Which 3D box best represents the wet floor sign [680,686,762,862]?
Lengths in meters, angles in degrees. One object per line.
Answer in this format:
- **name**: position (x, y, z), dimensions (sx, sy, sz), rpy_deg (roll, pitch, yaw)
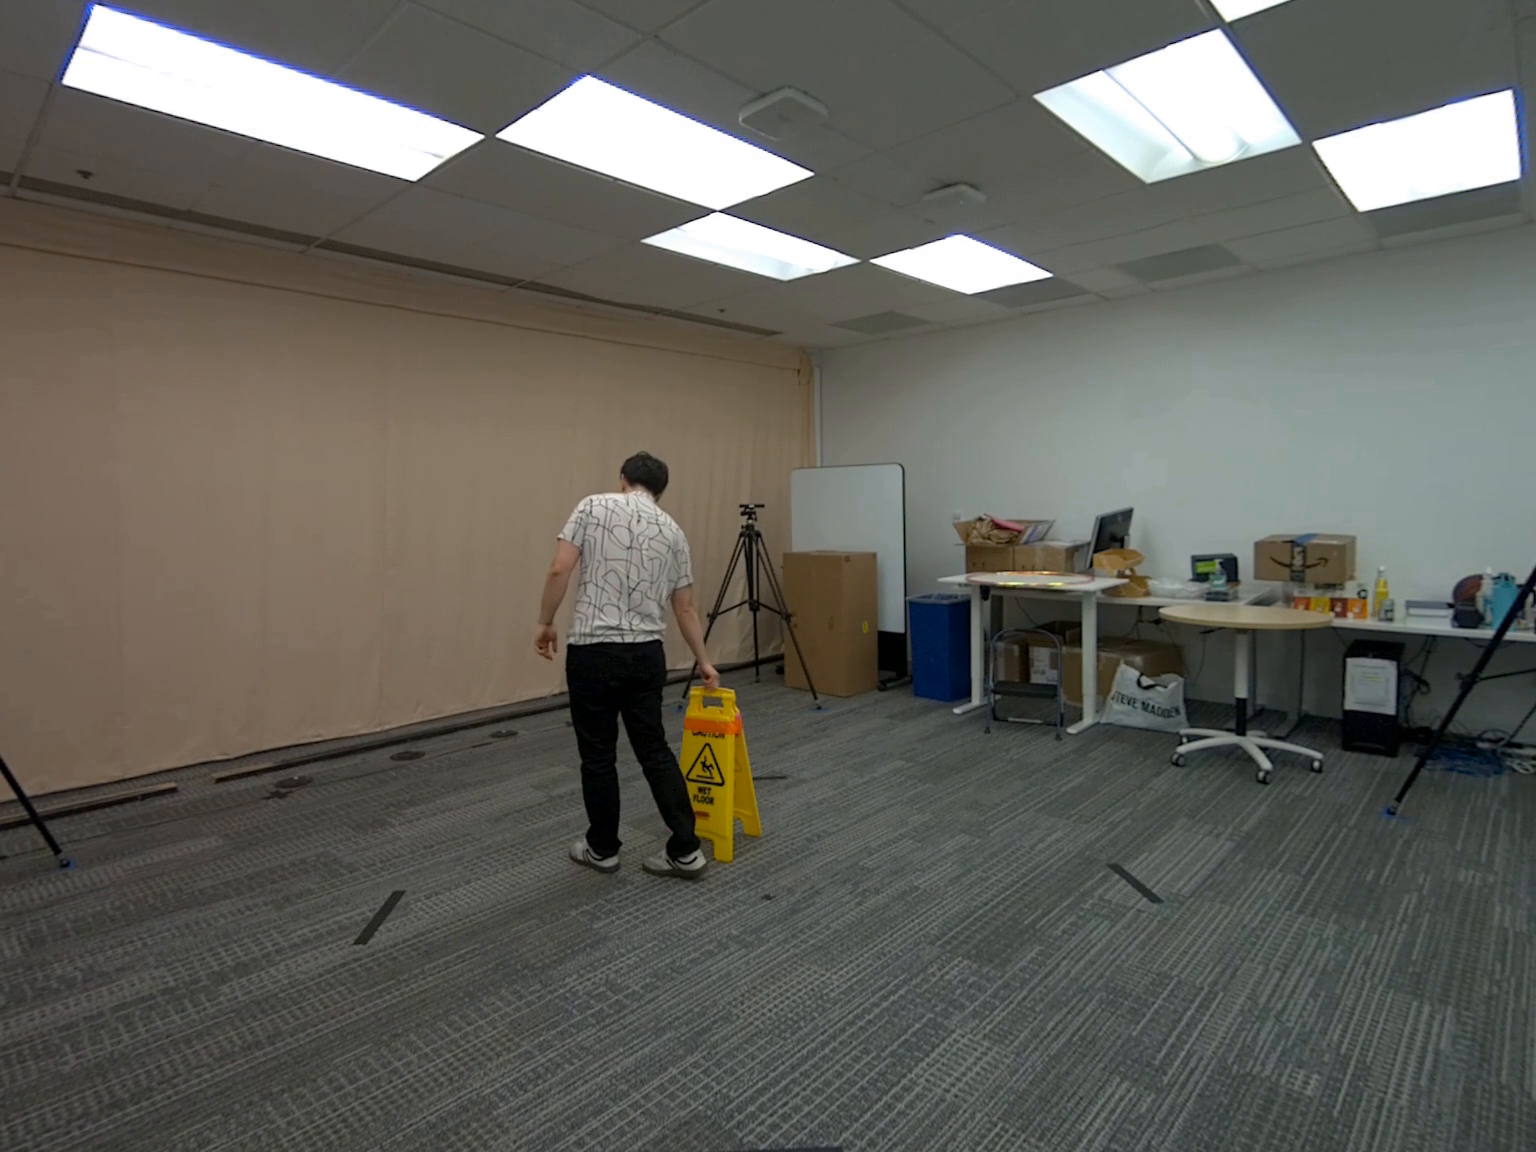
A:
- **wet floor sign**: position (-0.220, 0.778, 3.455), dimensions (0.289, 0.644, 0.283), rpy_deg (-1, 4, 25)
